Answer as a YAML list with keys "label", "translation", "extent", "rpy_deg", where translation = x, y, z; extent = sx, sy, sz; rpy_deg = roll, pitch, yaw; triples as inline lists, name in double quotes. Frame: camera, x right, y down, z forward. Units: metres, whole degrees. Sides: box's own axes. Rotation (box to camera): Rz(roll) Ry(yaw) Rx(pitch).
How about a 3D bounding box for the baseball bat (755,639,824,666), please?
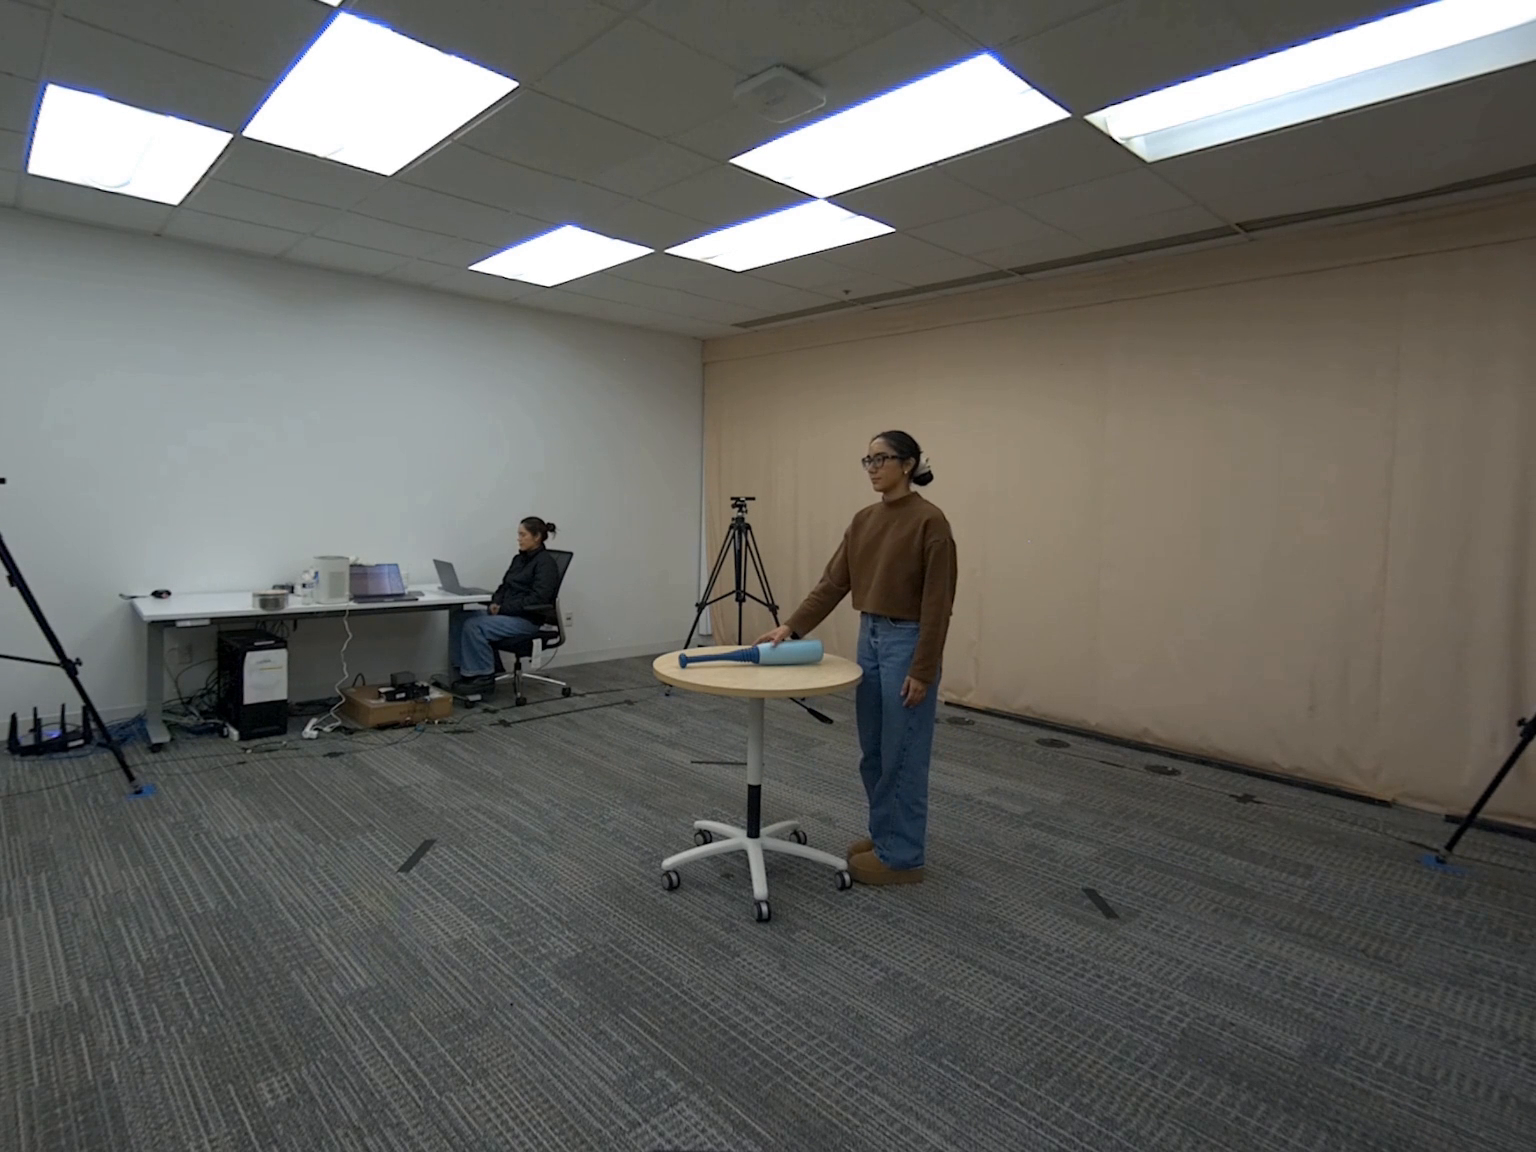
- label: "baseball bat"
  translation: [-0.061, 0.293, 3.066]
  extent: [0.537, 0.089, 0.090]
  rpy_deg: [-3, 5, -13]
